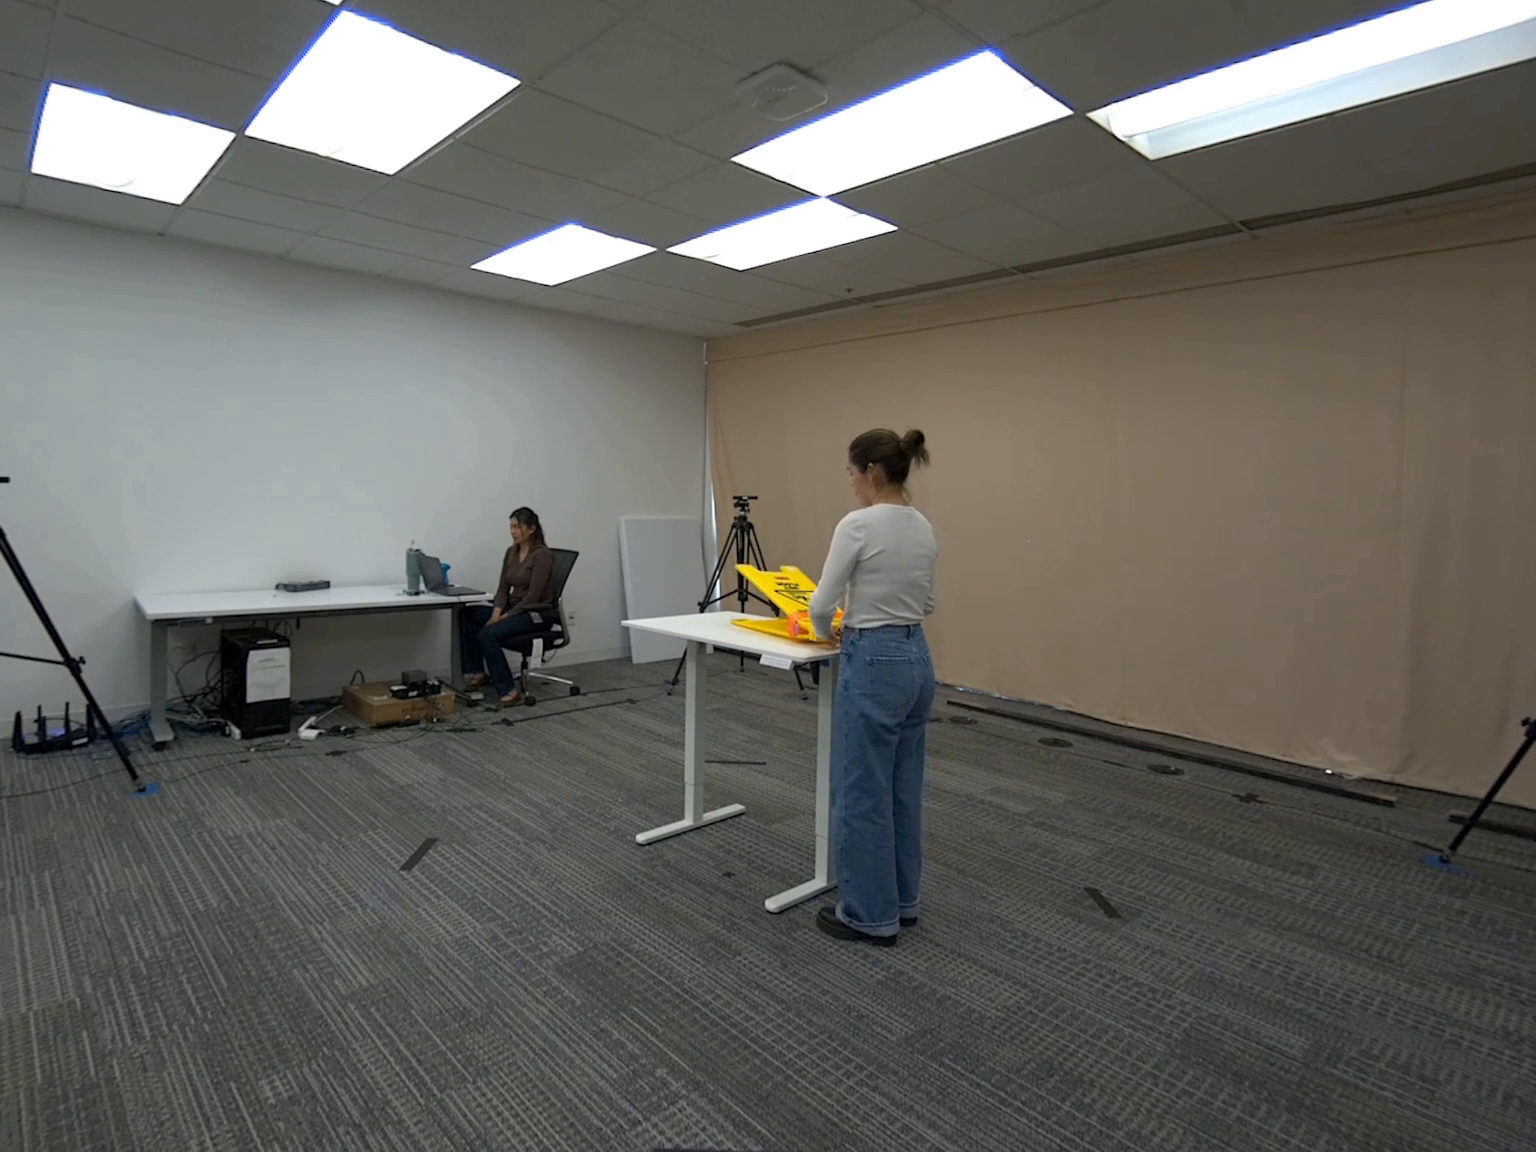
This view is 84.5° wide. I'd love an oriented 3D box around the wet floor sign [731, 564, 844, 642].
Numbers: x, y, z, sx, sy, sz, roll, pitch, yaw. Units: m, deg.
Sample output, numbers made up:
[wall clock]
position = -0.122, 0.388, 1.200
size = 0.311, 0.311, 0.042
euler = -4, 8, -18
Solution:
[wet floor sign]
position = 0.103, 0.153, 3.160
size = 0.277, 0.288, 0.661
euler = 1, 11, -24
